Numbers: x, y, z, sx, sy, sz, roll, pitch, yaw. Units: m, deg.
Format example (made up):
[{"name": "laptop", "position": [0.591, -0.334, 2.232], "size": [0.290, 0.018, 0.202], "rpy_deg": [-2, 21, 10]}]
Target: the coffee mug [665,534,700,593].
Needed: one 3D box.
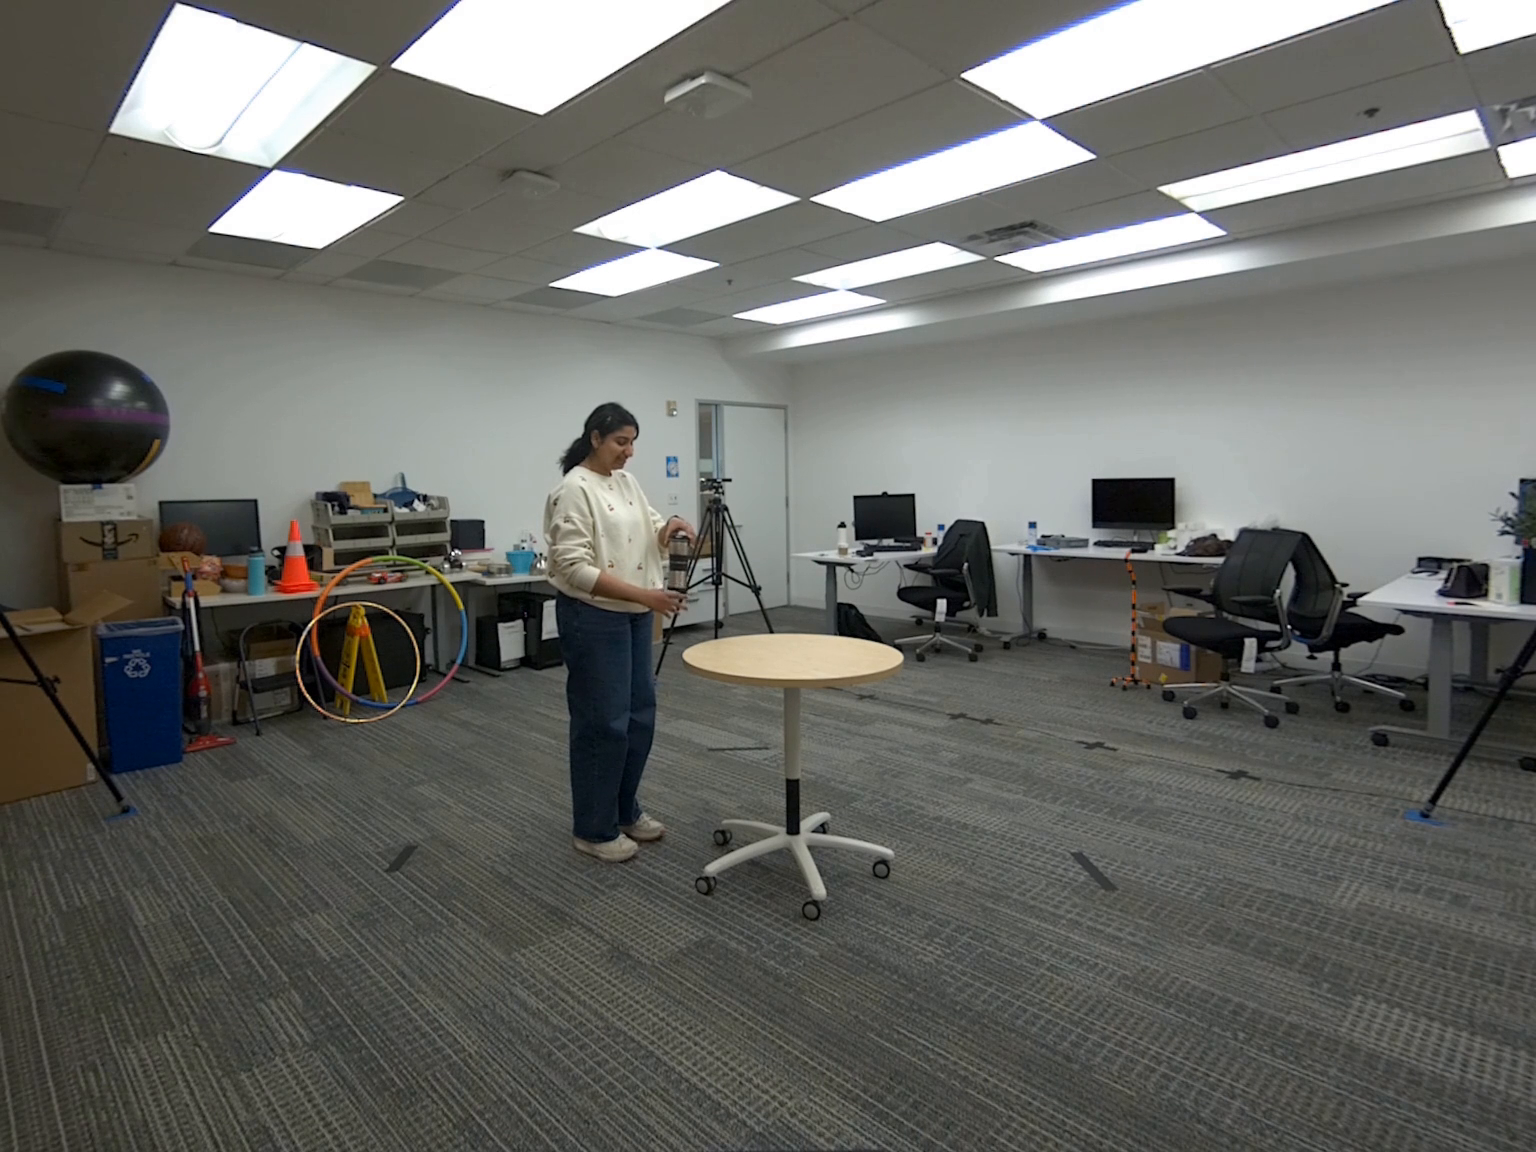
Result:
[{"name": "coffee mug", "position": [-0.326, -0.044, 3.163], "size": [0.089, 0.203, 0.120], "rpy_deg": [1, 1, 16]}]
